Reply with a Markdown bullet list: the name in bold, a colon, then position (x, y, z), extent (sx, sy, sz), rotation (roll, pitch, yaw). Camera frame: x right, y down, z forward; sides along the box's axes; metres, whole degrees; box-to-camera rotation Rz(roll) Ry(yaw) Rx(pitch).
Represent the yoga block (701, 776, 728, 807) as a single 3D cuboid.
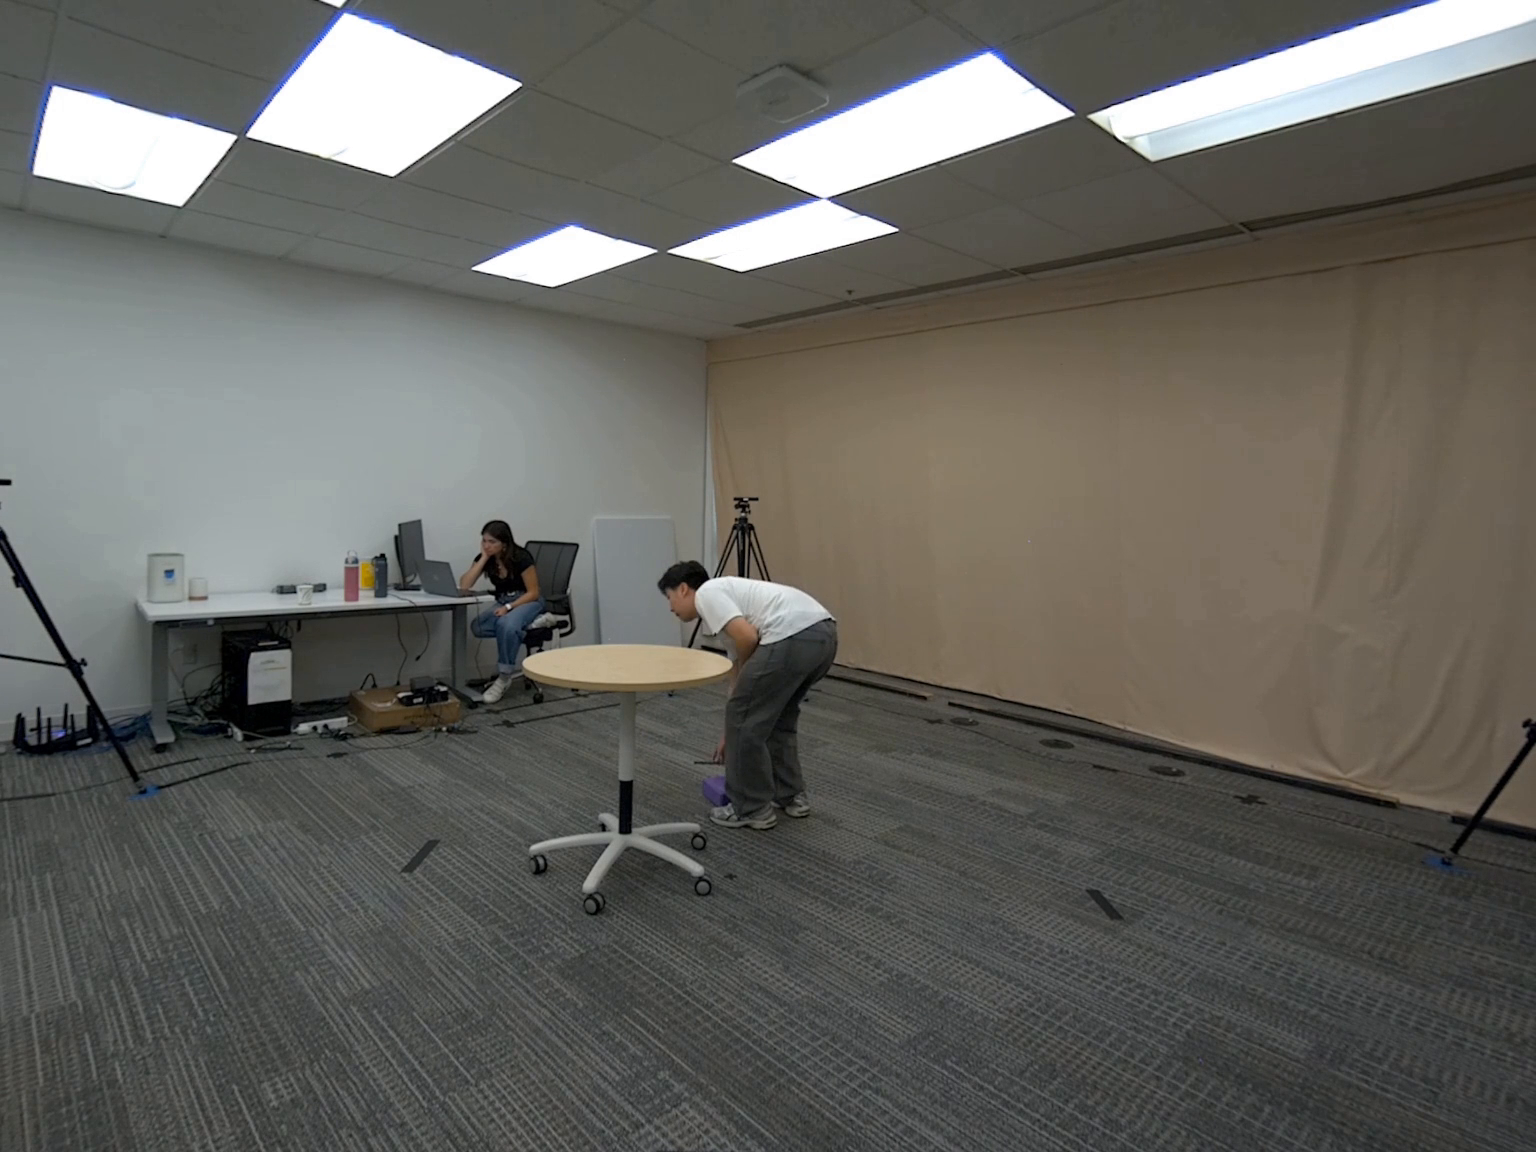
- **yoga block**: position (-0.203, 1.000, 3.894), extent (0.146, 0.076, 0.234), rotation (-1, 5, -25)
